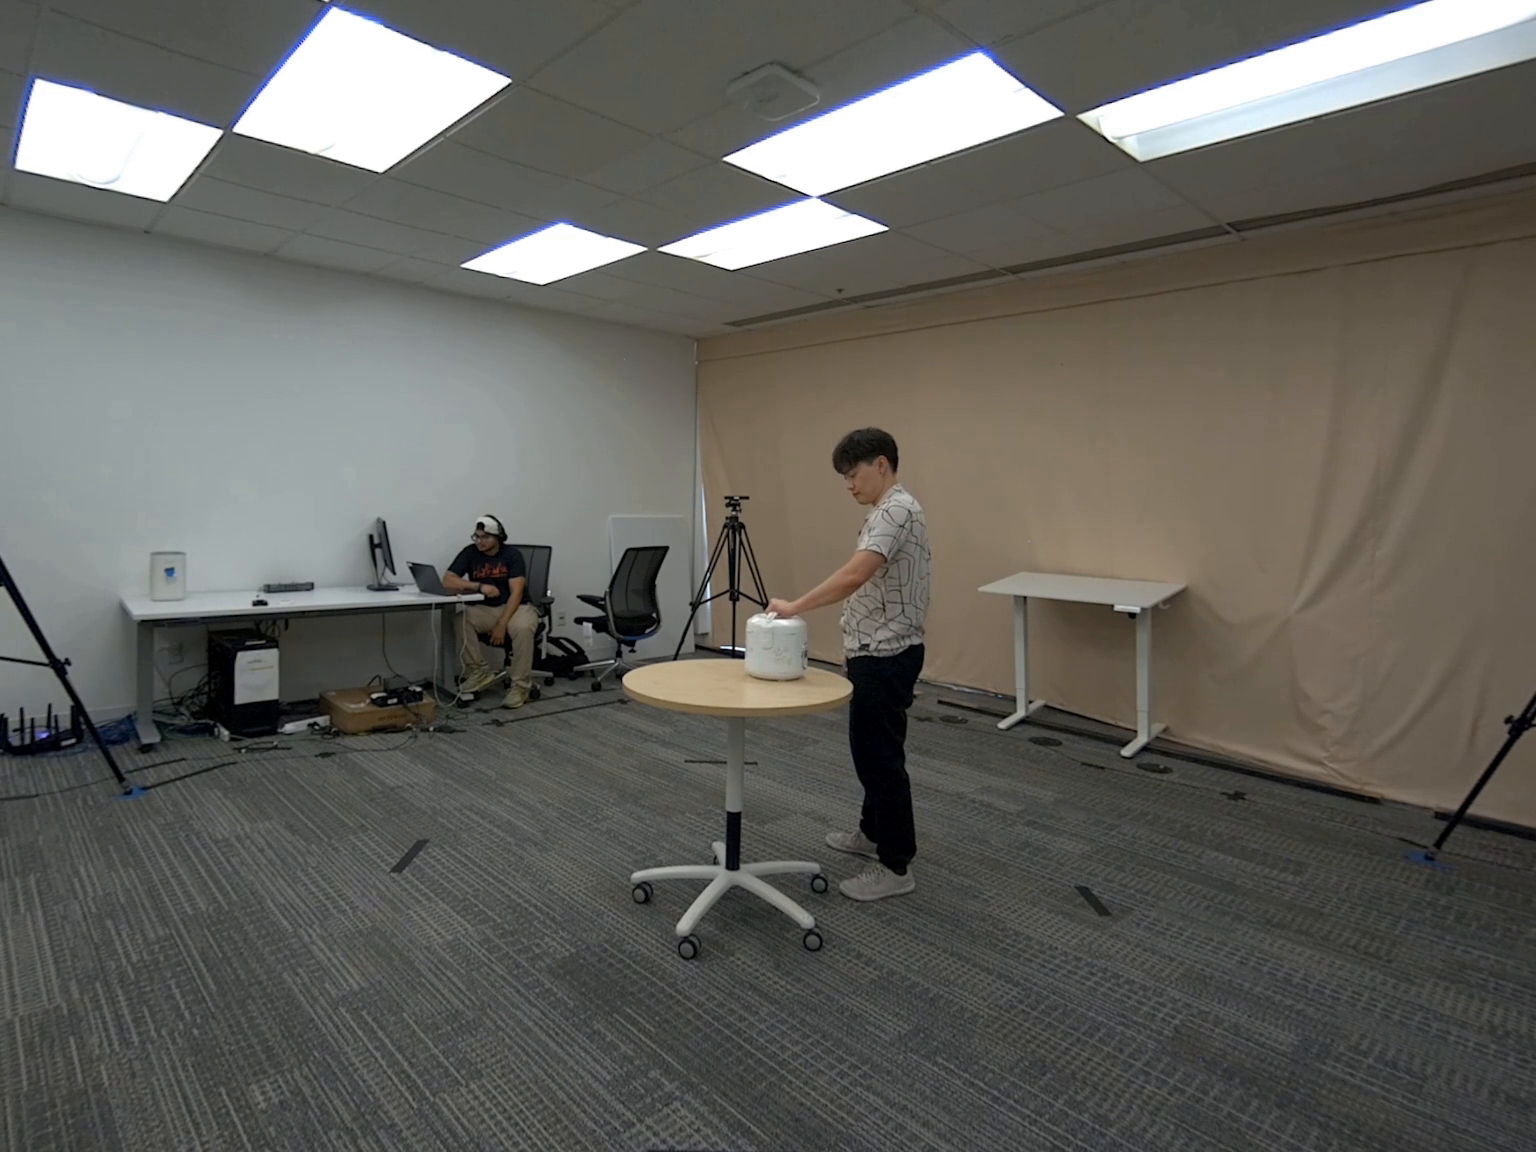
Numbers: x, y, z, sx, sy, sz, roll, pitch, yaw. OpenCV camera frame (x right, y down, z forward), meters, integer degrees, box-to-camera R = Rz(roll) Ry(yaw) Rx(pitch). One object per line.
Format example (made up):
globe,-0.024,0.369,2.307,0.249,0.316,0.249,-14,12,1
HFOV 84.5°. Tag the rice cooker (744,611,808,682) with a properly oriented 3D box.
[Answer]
rice cooker,0.023,0.230,2.894,0.221,0.232,0.217,2,3,21
